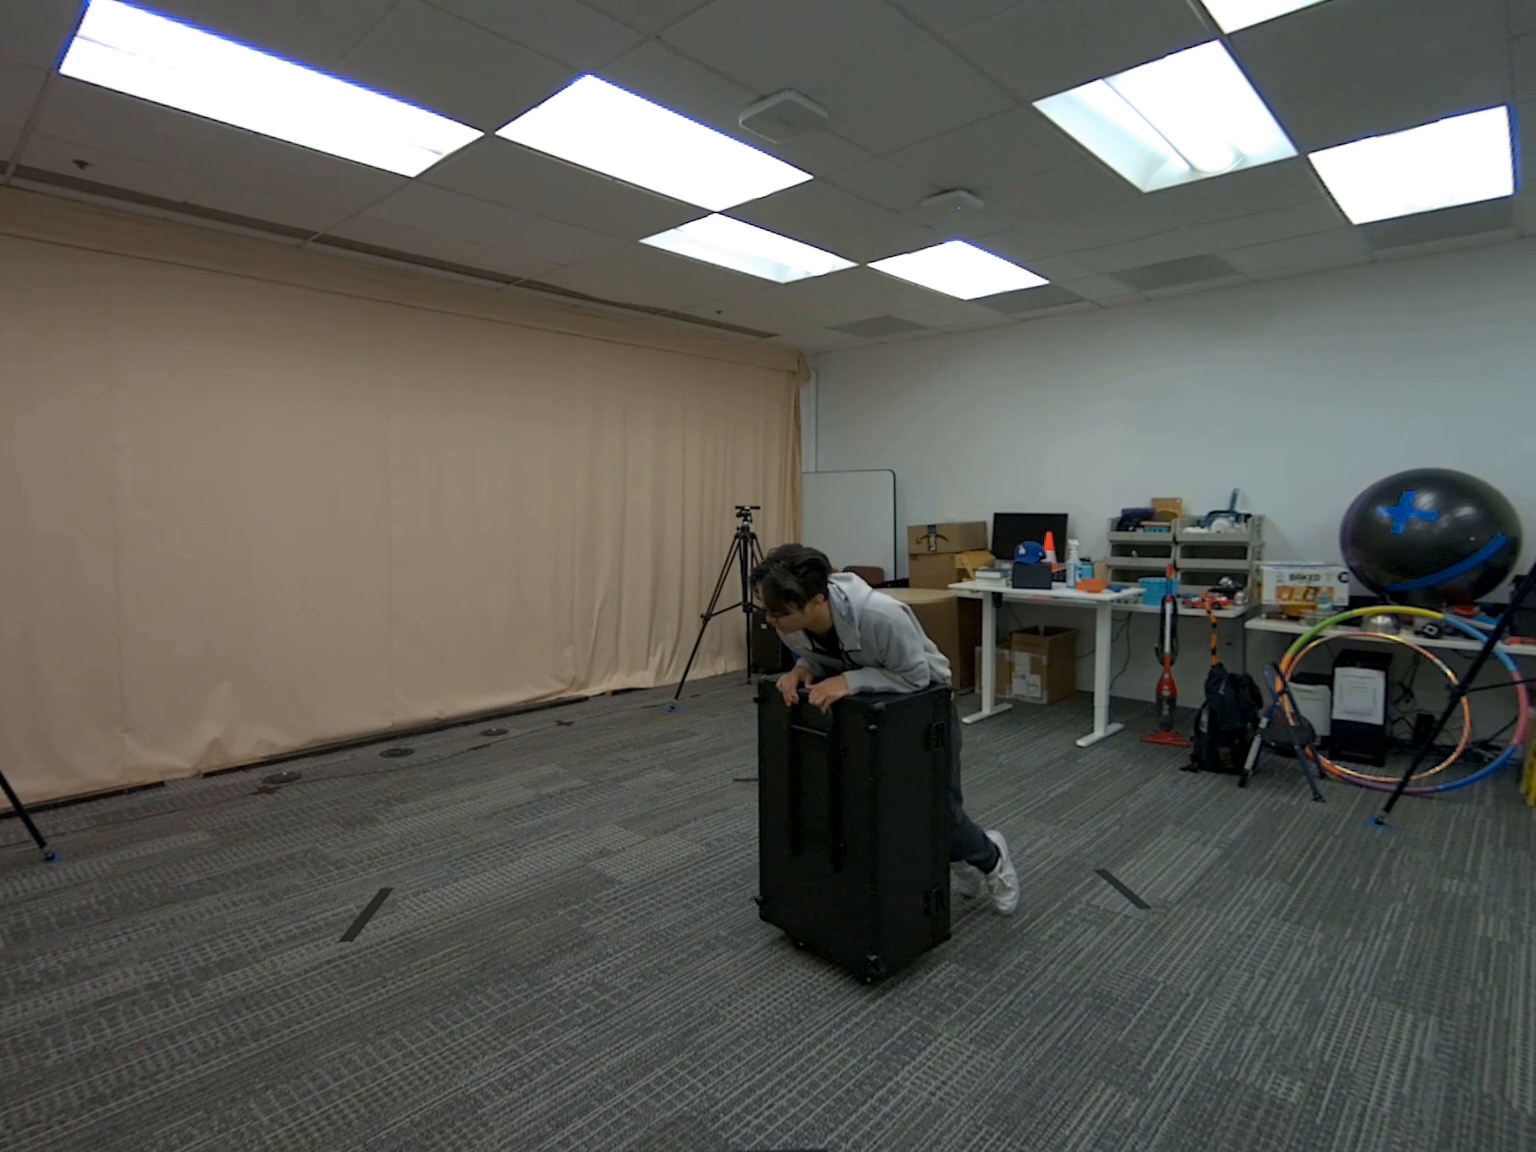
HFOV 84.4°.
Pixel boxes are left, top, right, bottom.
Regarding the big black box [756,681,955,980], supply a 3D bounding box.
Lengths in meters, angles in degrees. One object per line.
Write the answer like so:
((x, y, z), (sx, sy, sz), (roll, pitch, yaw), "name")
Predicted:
((0.261, 0.758, 2.603), (0.384, 0.859, 0.538), (-5, 6, -42), "big black box")
